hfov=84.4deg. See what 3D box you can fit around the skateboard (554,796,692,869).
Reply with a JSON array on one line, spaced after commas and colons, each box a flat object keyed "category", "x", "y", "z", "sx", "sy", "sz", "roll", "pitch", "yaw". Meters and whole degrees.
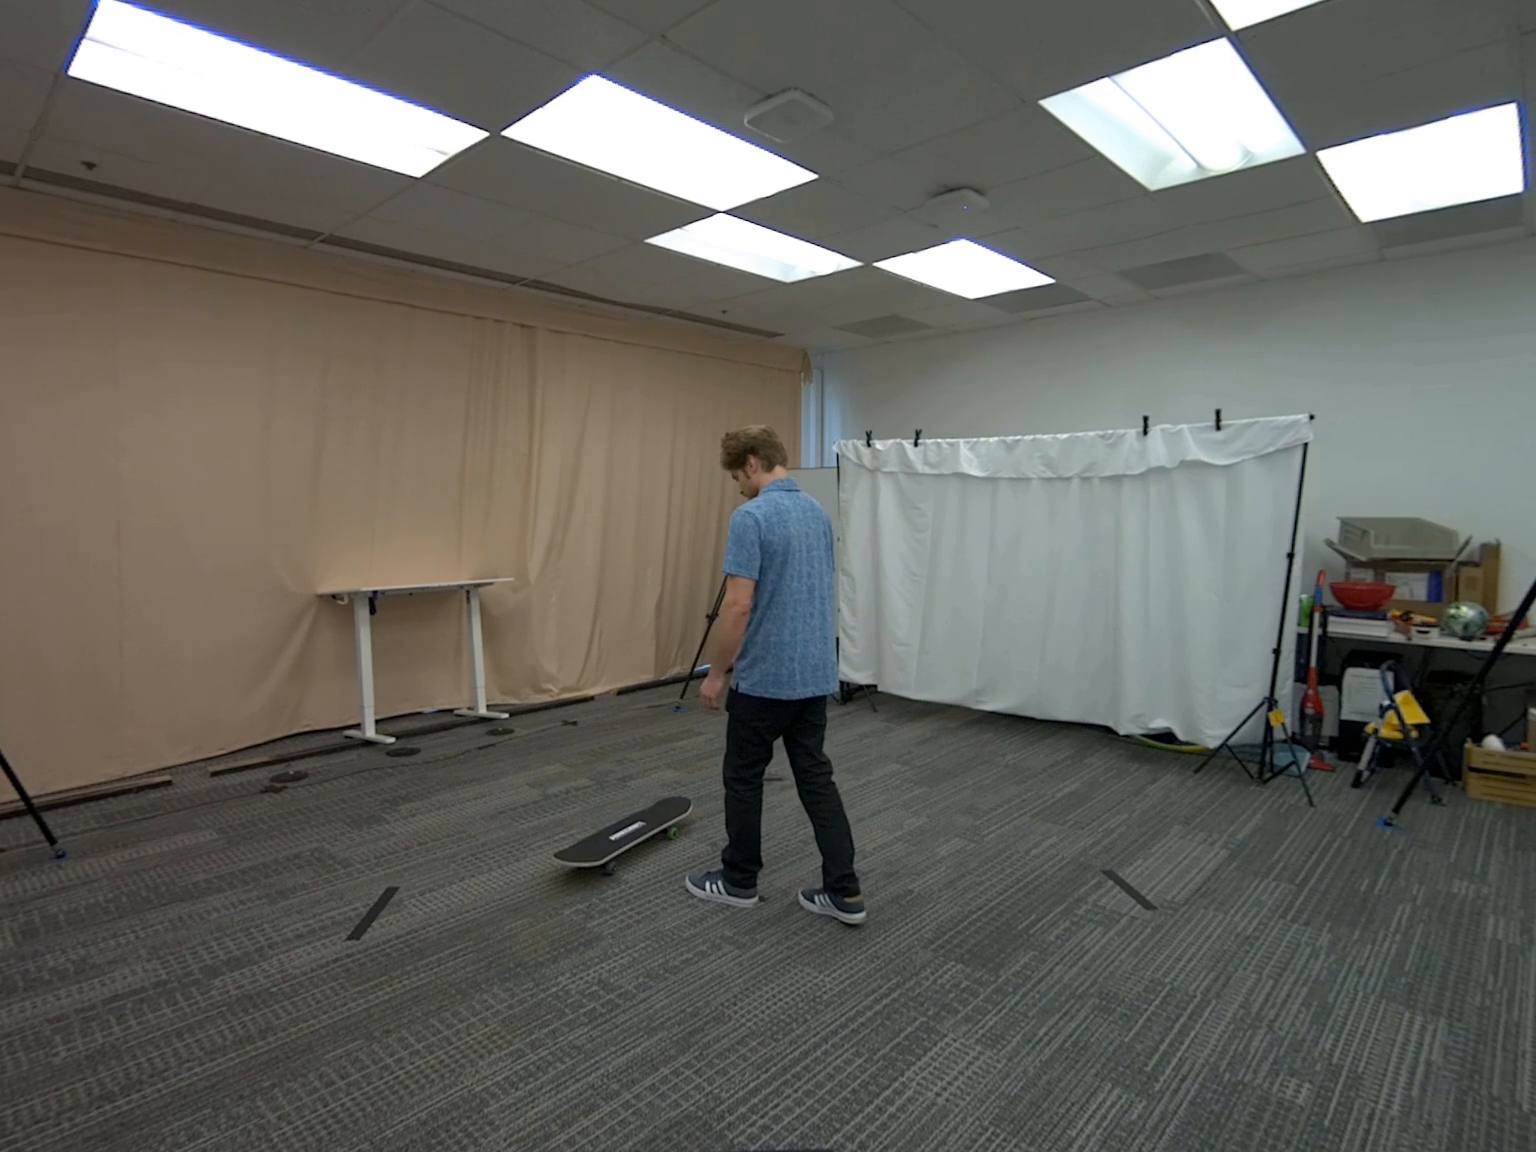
[{"category": "skateboard", "x": -0.568, "y": 1.060, "z": 3.395, "sx": 0.199, "sy": 0.110, "sz": 0.765, "roll": 1, "pitch": 5, "yaw": 30}]
